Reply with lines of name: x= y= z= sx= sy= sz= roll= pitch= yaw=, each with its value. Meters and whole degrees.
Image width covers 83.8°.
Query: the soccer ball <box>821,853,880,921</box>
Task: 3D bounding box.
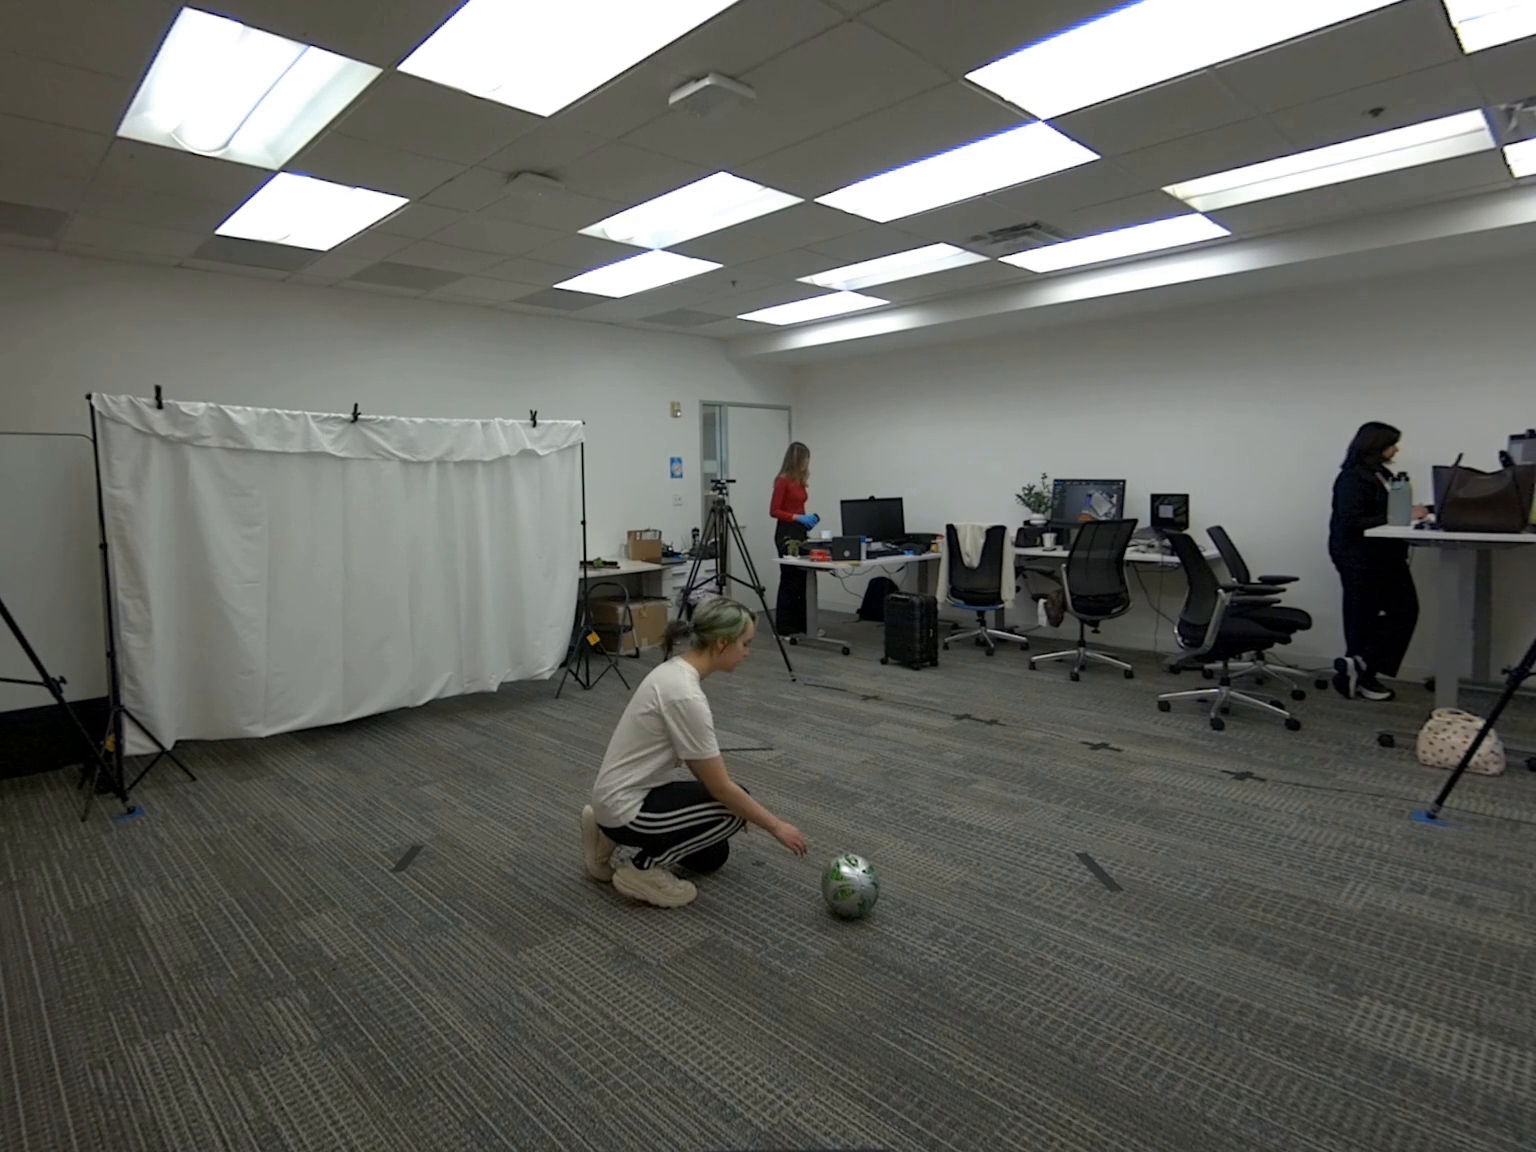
soccer ball: x=0.260 y=0.980 z=2.735 sx=0.187 sy=0.187 sz=0.188 roll=-1 pitch=5 yaw=-2
